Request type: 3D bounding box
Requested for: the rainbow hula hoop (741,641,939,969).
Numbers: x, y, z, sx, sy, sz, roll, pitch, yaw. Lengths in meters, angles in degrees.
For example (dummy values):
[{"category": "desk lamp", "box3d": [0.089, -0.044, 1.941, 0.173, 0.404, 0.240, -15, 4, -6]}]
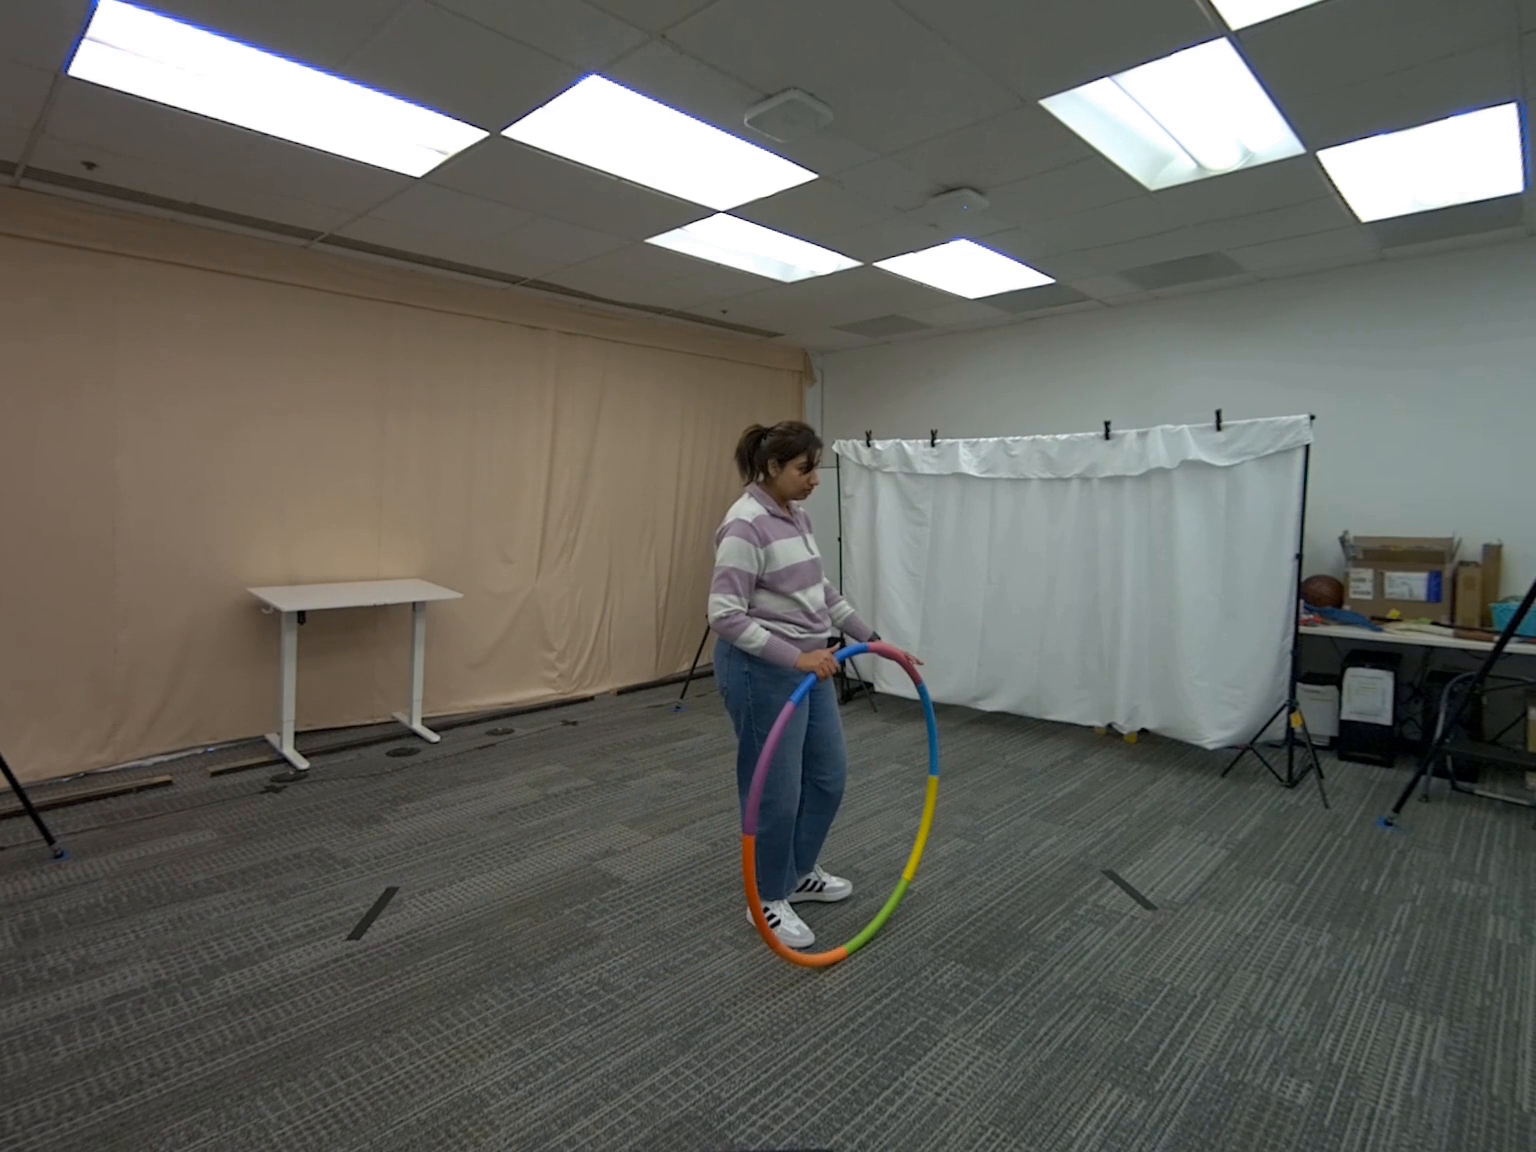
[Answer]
[{"category": "rainbow hula hoop", "box3d": [0.270, 0.692, 2.594, 0.053, 0.983, 0.955, 5, 6, 43]}]
